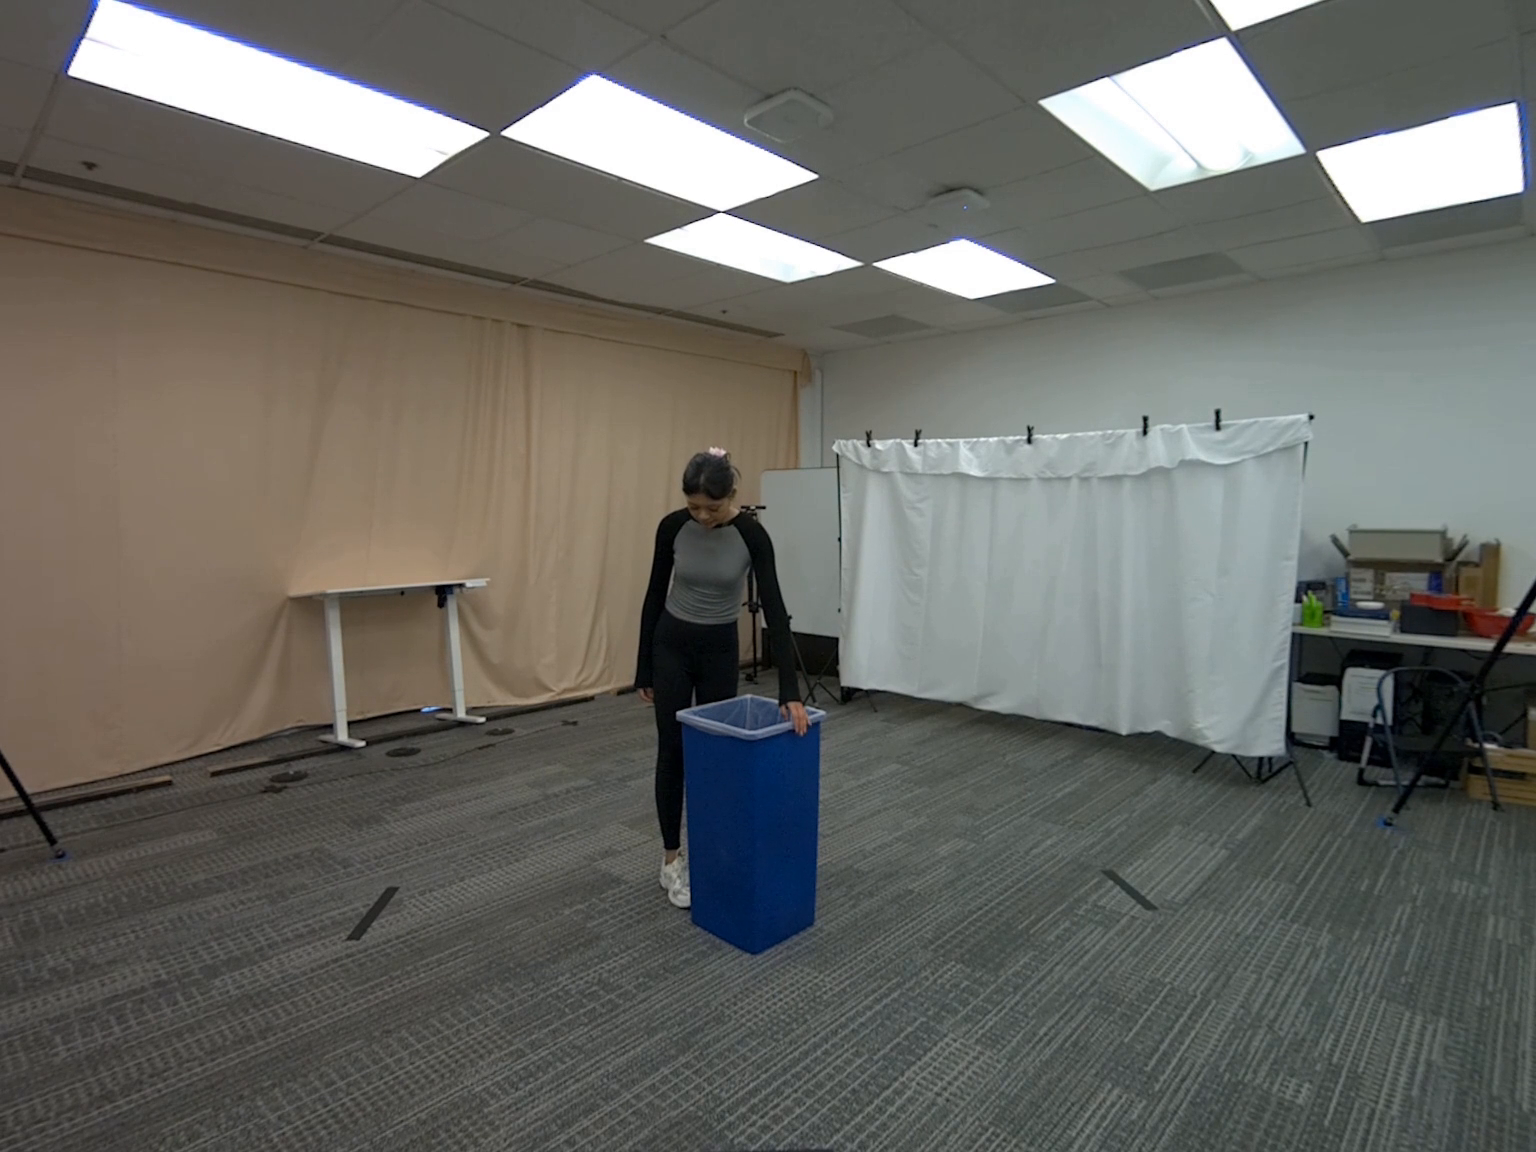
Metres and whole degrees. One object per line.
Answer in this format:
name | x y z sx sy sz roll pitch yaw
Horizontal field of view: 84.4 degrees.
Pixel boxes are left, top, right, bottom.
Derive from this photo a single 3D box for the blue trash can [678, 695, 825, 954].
blue trash can | -0.050 0.803 2.783 0.391 0.712 0.362 3 4 44
